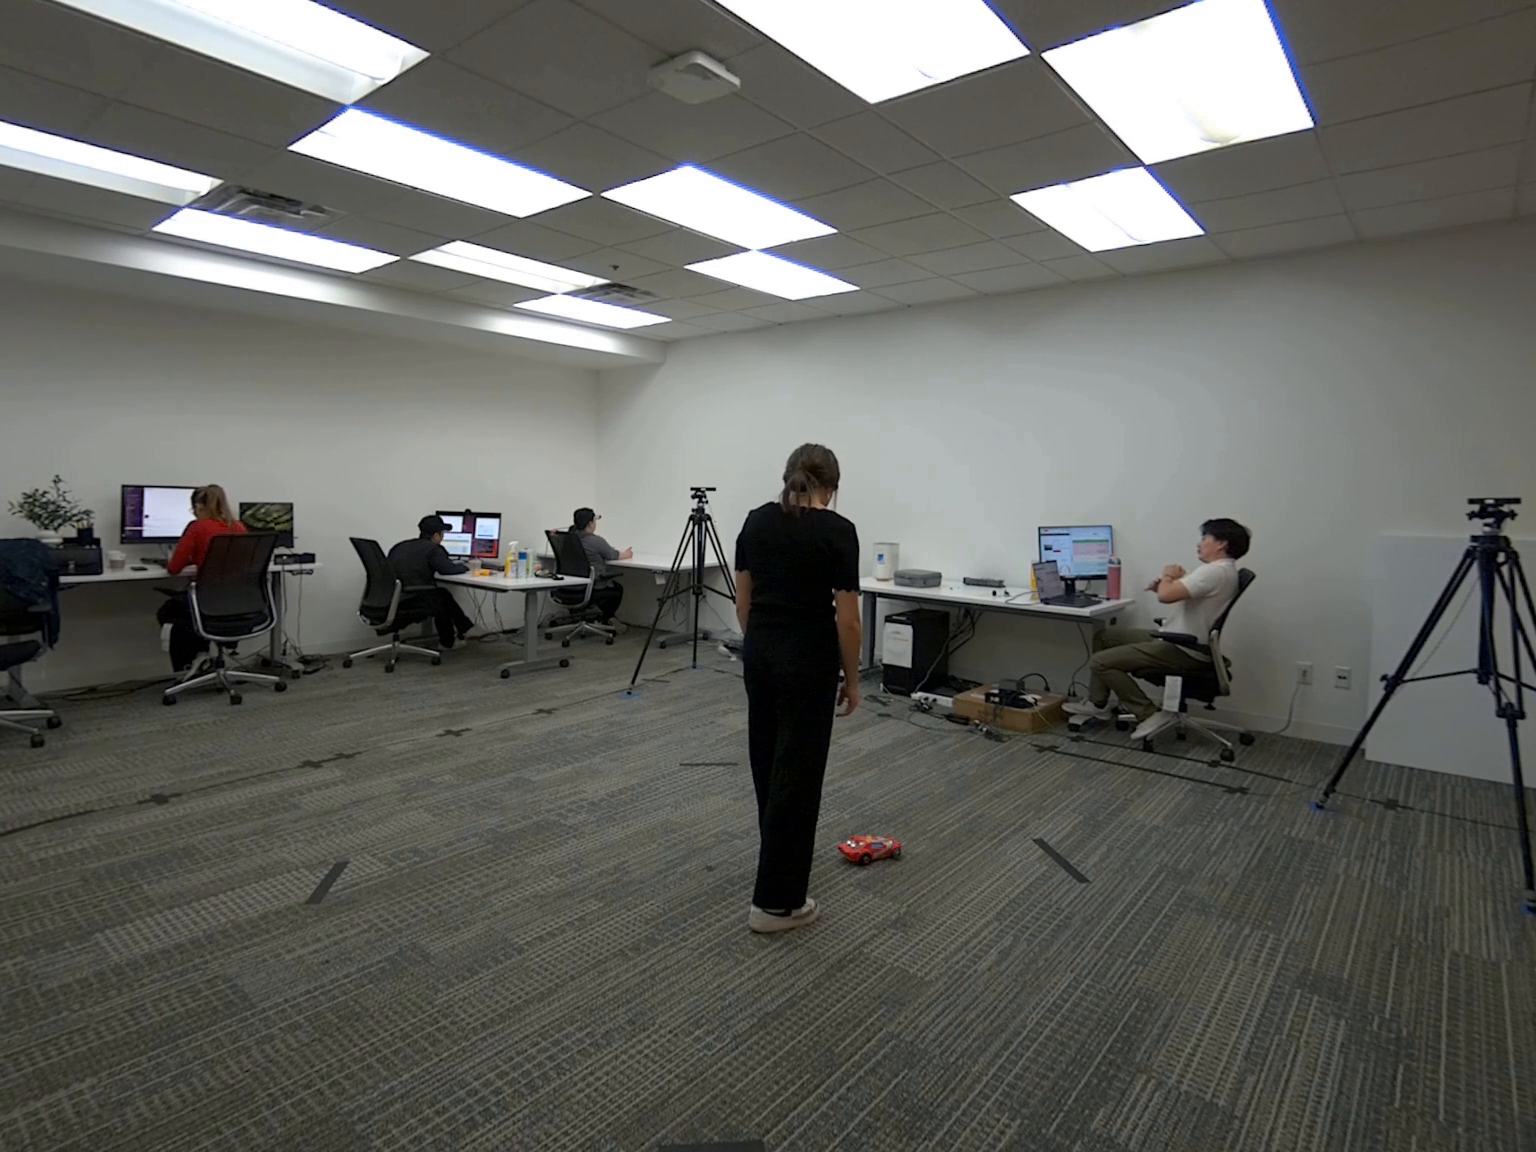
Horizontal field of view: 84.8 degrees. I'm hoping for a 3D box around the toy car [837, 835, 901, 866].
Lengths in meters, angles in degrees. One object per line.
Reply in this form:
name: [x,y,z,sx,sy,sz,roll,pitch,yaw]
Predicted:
toy car: [0.375,1.035,3.232,0.247,0.083,0.134,10,1,-25]
